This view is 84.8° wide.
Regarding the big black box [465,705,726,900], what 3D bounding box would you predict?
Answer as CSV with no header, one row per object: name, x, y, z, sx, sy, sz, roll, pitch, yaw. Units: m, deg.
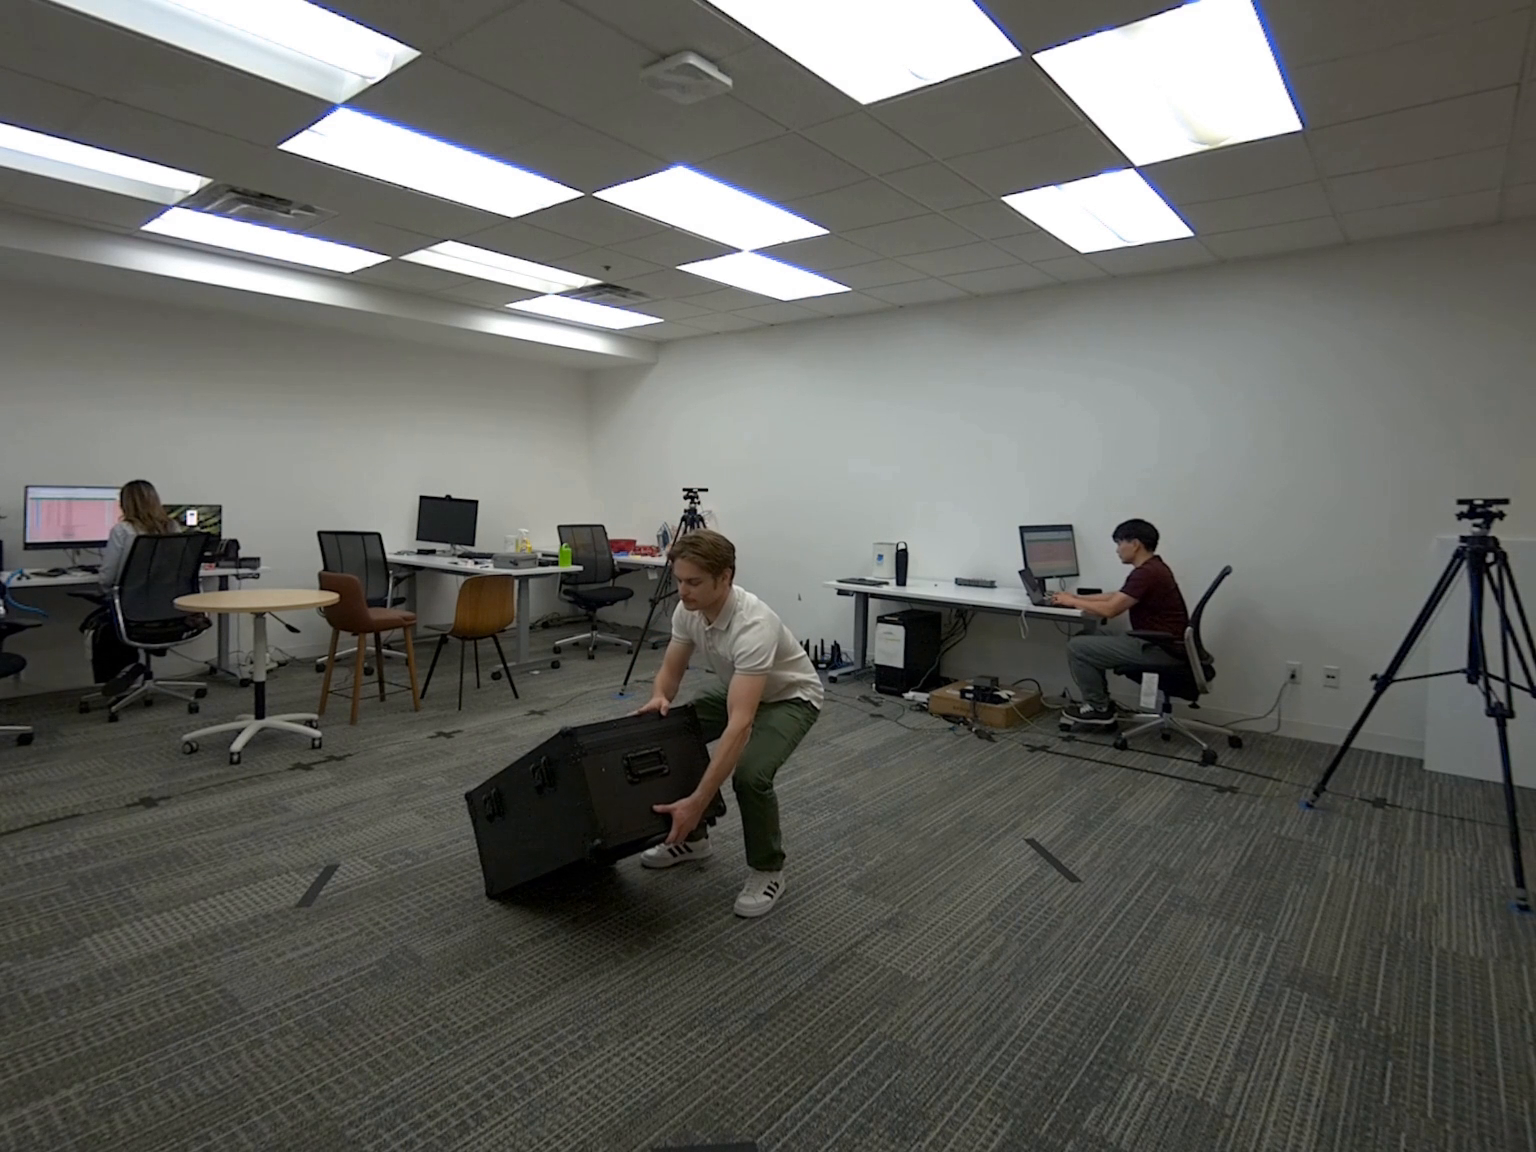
big black box,-0.621,0.764,2.835,0.508,0.394,0.875,-4,-22,-41
